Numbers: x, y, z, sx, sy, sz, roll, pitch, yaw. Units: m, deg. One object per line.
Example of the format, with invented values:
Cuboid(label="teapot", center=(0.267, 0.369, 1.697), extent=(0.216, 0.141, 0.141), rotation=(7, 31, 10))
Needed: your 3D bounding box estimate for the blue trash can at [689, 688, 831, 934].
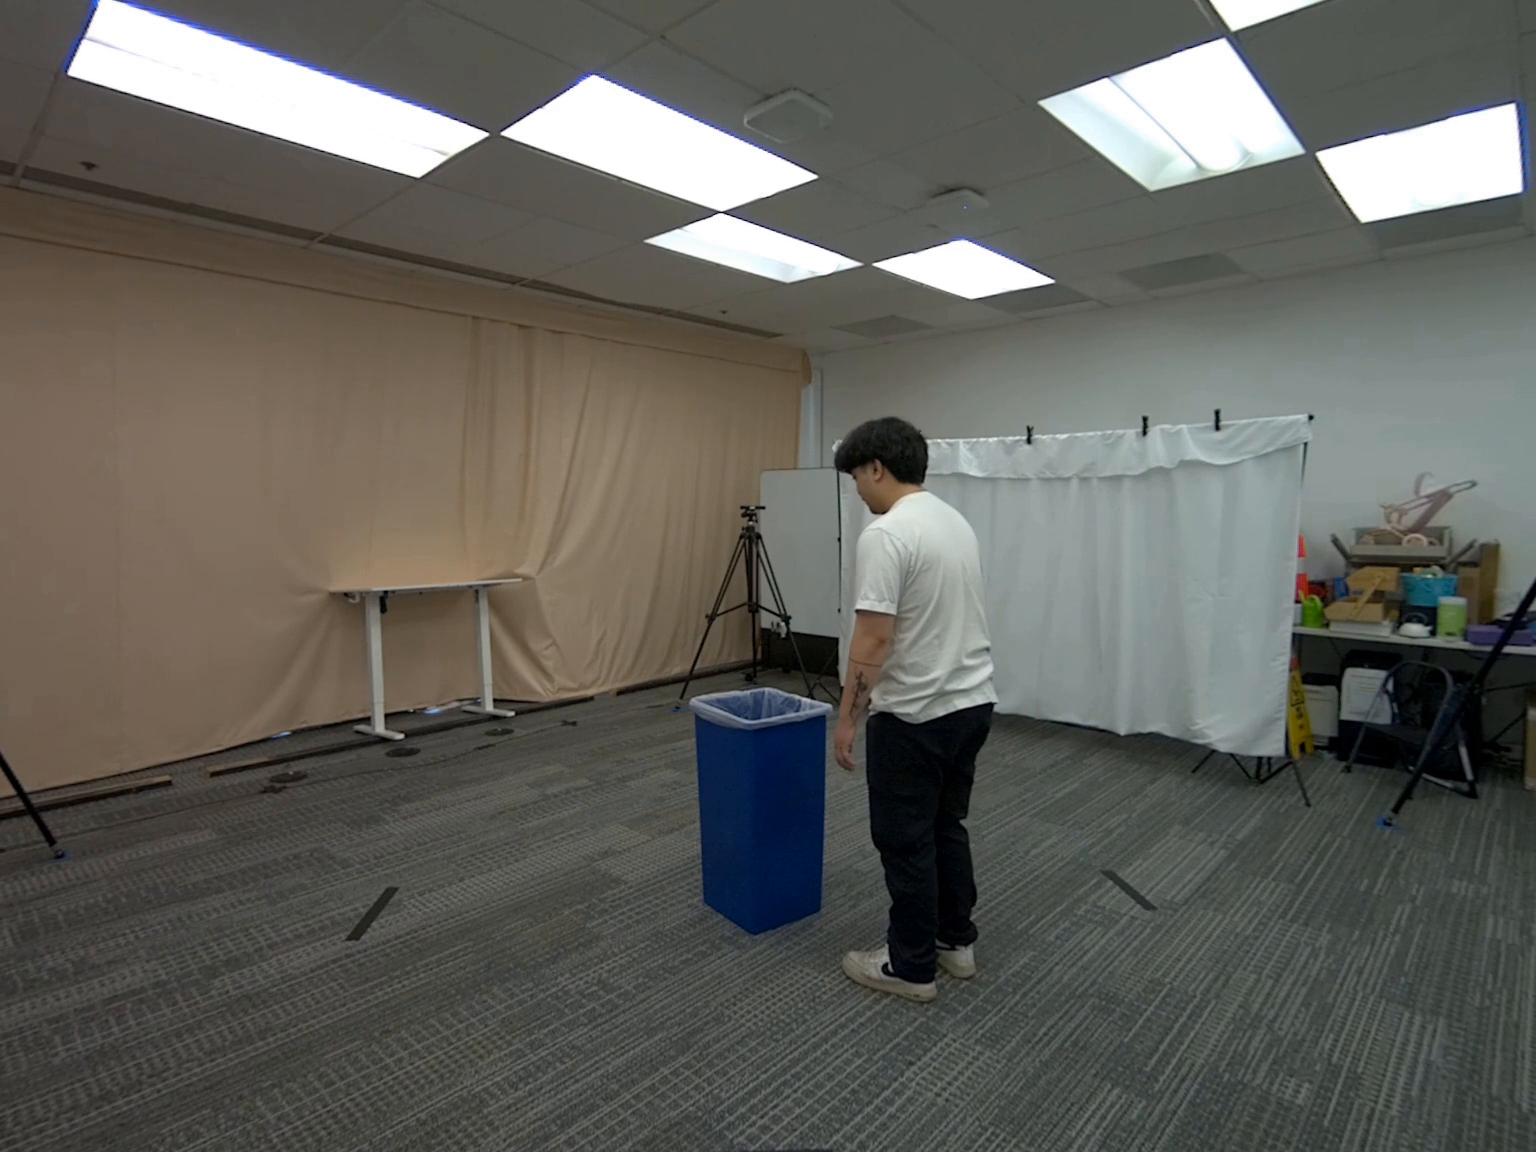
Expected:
Cuboid(label="blue trash can", center=(-0.026, 0.791, 2.907), extent=(0.363, 0.712, 0.390), rotation=(-2, 4, -37))
